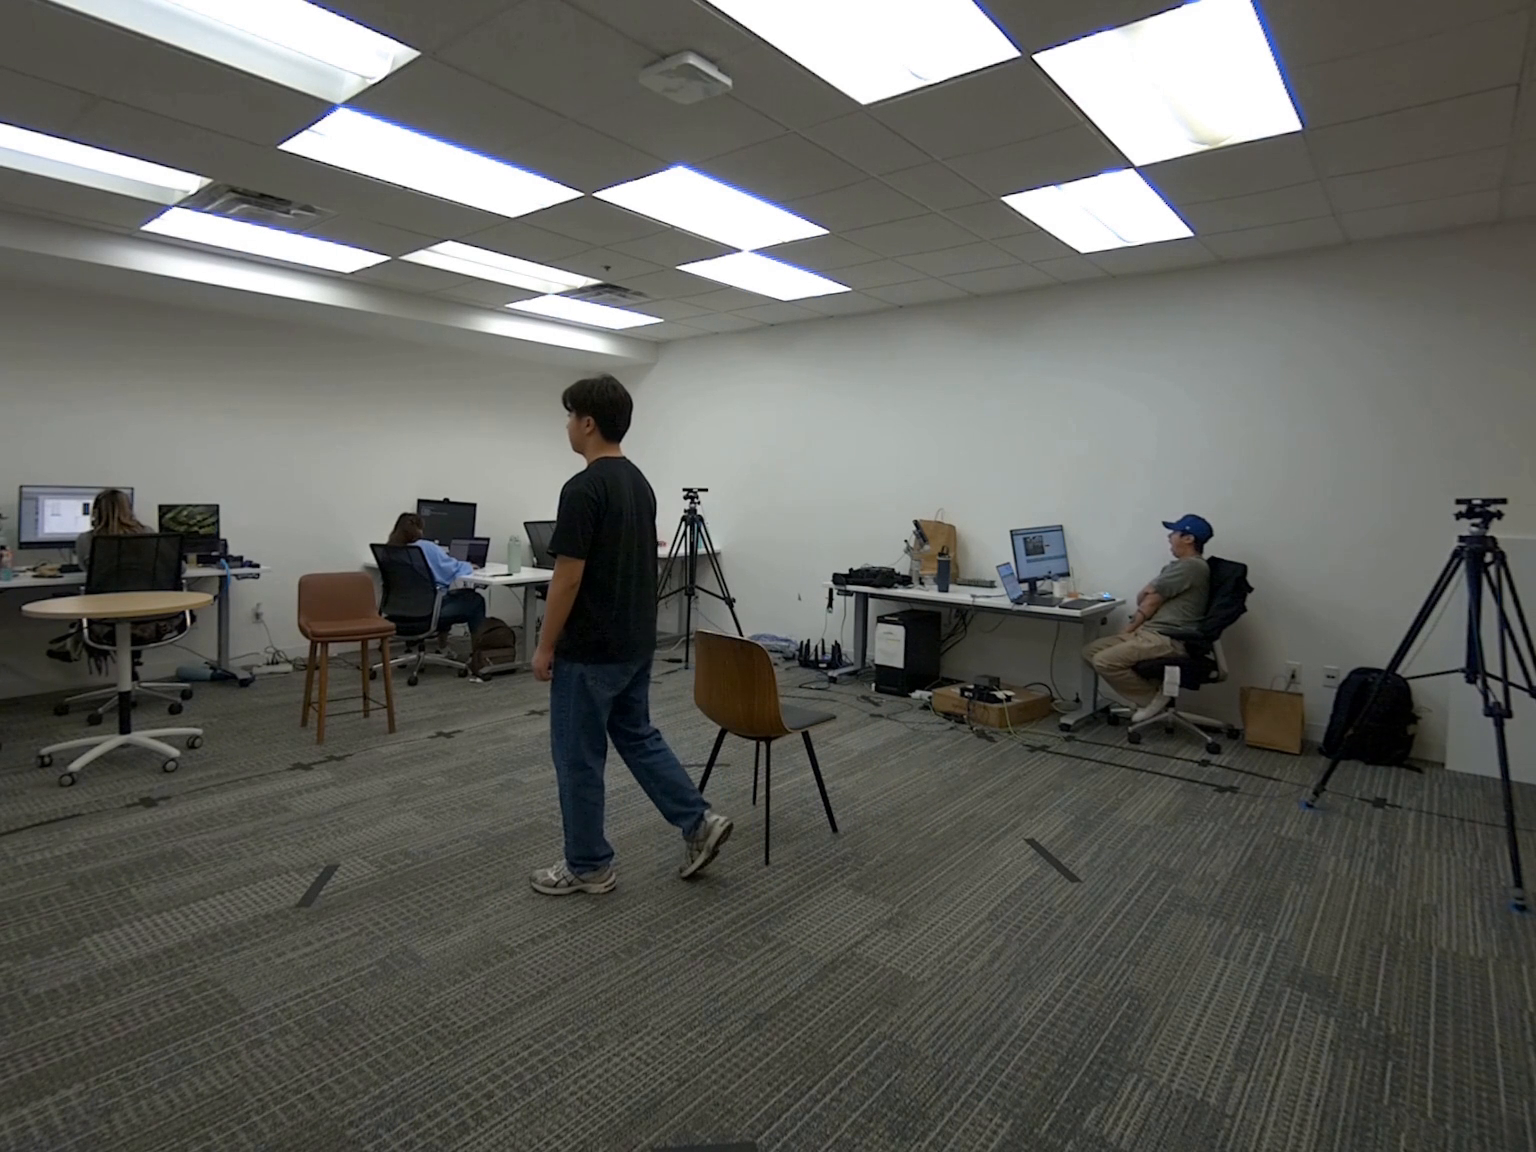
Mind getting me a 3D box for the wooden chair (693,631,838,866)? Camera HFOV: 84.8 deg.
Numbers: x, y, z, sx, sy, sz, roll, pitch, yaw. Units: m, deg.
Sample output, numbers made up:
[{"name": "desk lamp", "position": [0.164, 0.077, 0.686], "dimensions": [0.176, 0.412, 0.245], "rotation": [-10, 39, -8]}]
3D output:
[{"name": "wooden chair", "position": [-0.028, 0.613, 3.446], "dimensions": [0.494, 0.872, 0.509], "rotation": [4, 8, 41]}]
